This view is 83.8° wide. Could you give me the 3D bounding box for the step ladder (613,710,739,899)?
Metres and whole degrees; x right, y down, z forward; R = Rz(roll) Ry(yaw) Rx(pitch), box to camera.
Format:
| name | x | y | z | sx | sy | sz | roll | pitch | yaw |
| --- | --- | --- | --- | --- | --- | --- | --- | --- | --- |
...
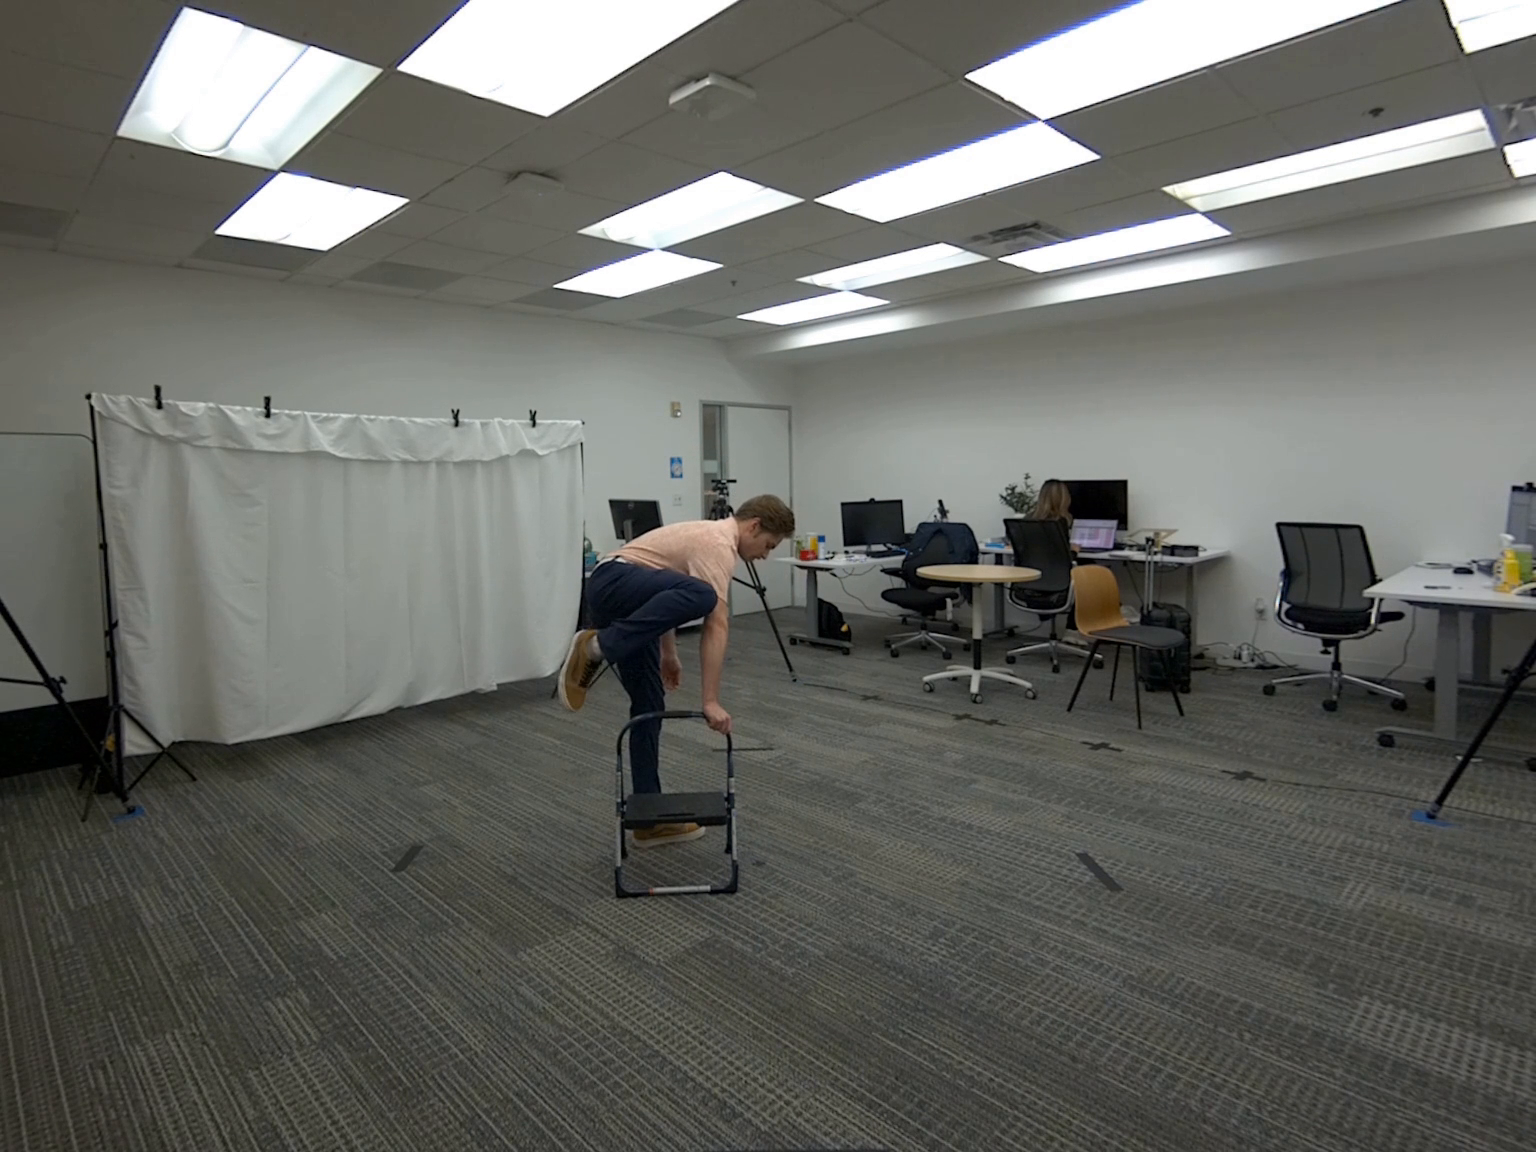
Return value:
| name | x | y | z | sx | sy | sz | roll | pitch | yaw |
| --- | --- | --- | --- | --- | --- | --- | --- | --- | --- |
| step ladder | -0.328 | 0.763 | 3.027 | 0.429 | 0.604 | 0.352 | -2 | 4 | -5 |
